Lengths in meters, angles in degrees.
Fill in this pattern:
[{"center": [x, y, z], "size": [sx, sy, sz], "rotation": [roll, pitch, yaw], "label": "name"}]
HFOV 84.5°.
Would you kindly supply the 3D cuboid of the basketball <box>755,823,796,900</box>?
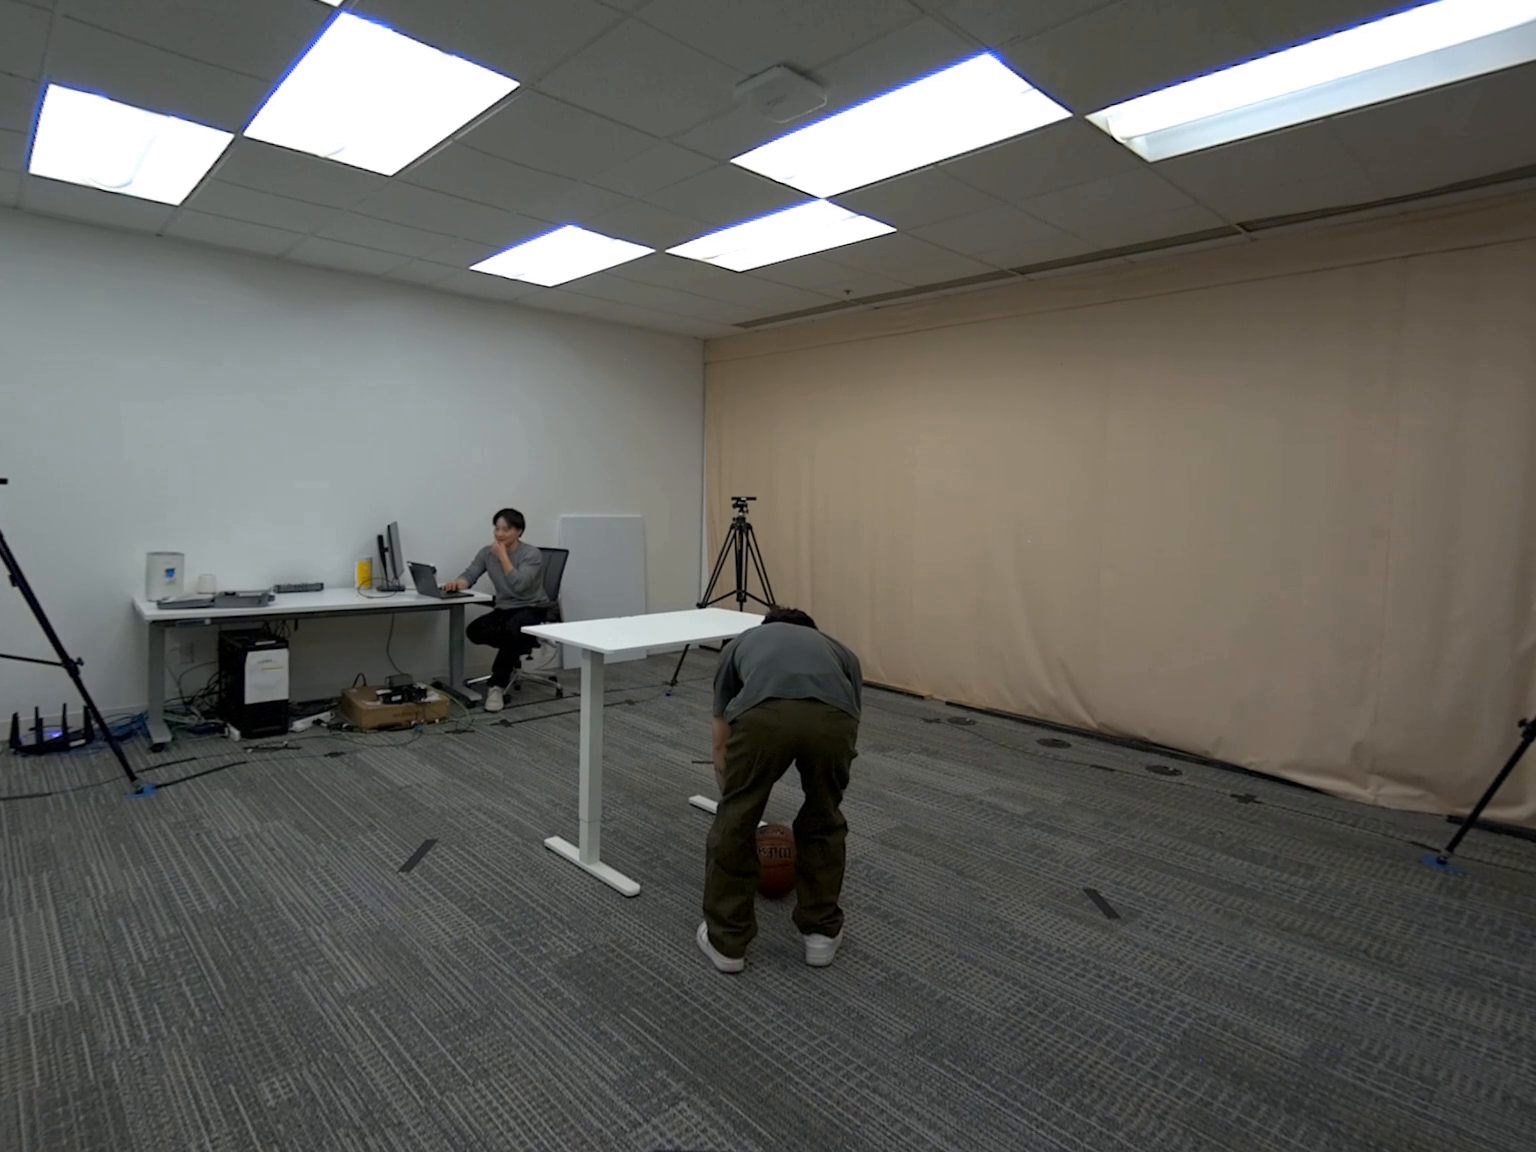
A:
[{"center": [0.016, 1.004, 2.969], "size": [0.236, 0.235, 0.237], "rotation": [1, 4, -1], "label": "basketball"}]
